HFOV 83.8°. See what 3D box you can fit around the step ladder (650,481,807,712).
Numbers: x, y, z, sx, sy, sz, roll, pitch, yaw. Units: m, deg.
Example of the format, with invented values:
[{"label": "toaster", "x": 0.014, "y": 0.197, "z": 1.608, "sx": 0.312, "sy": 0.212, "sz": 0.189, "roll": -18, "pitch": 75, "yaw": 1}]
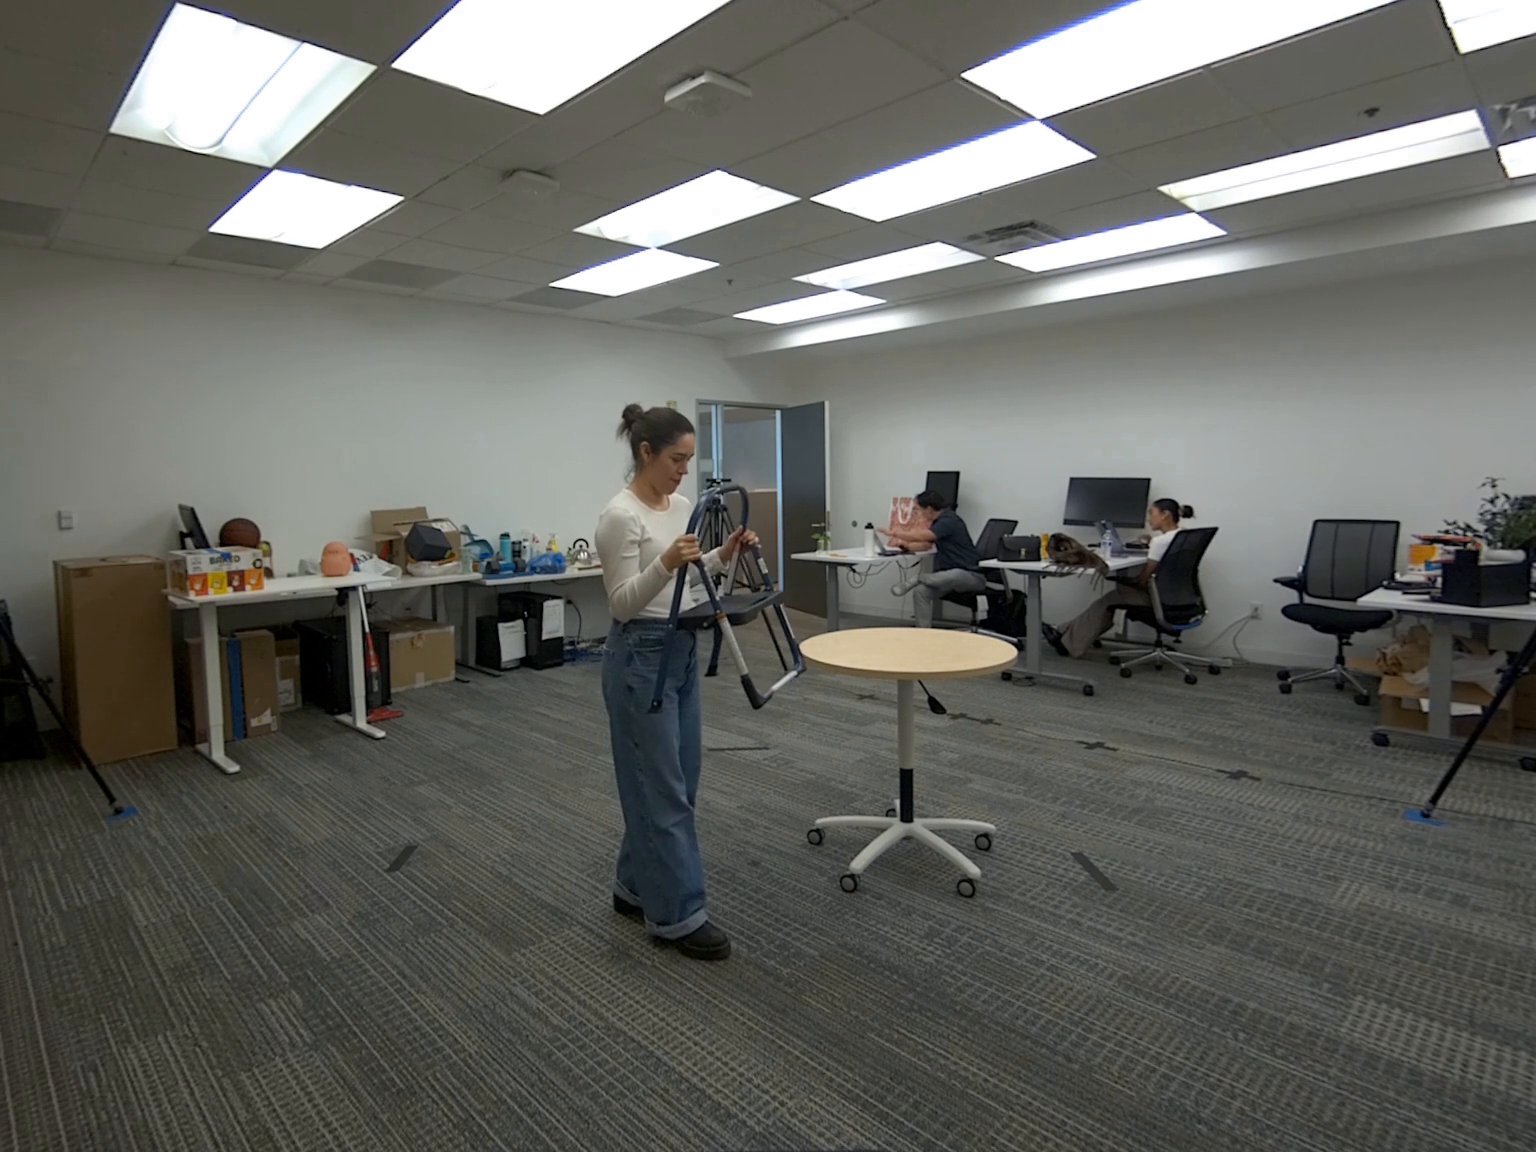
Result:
[{"label": "step ladder", "x": -0.143, "y": 0.034, "z": 2.517, "sx": 0.356, "sy": 0.603, "sz": 0.425, "roll": -5, "pitch": 6, "yaw": 22}]
